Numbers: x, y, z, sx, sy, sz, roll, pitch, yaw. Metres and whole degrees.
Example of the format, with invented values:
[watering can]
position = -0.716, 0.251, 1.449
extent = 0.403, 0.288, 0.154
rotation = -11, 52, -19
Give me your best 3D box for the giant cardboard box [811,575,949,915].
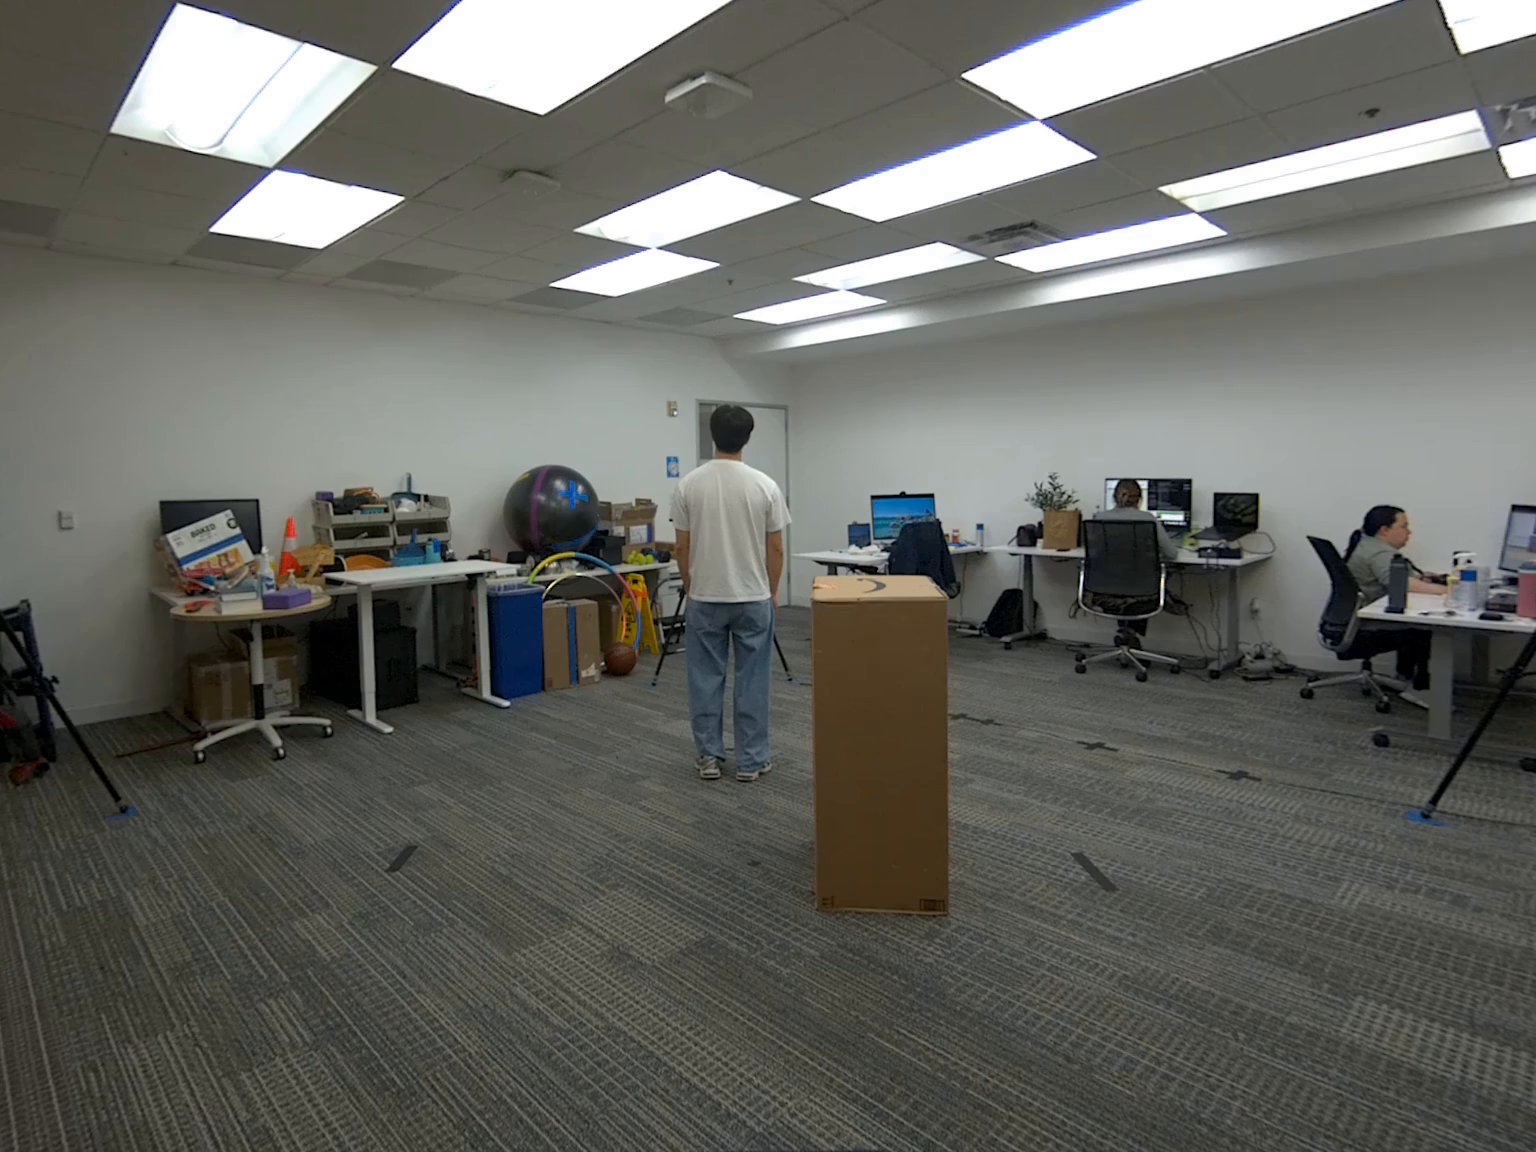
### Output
[giant cardboard box]
position = 0.381, 0.542, 2.979
extent = 0.429, 1.022, 0.576
rotation = -1, 4, 6
